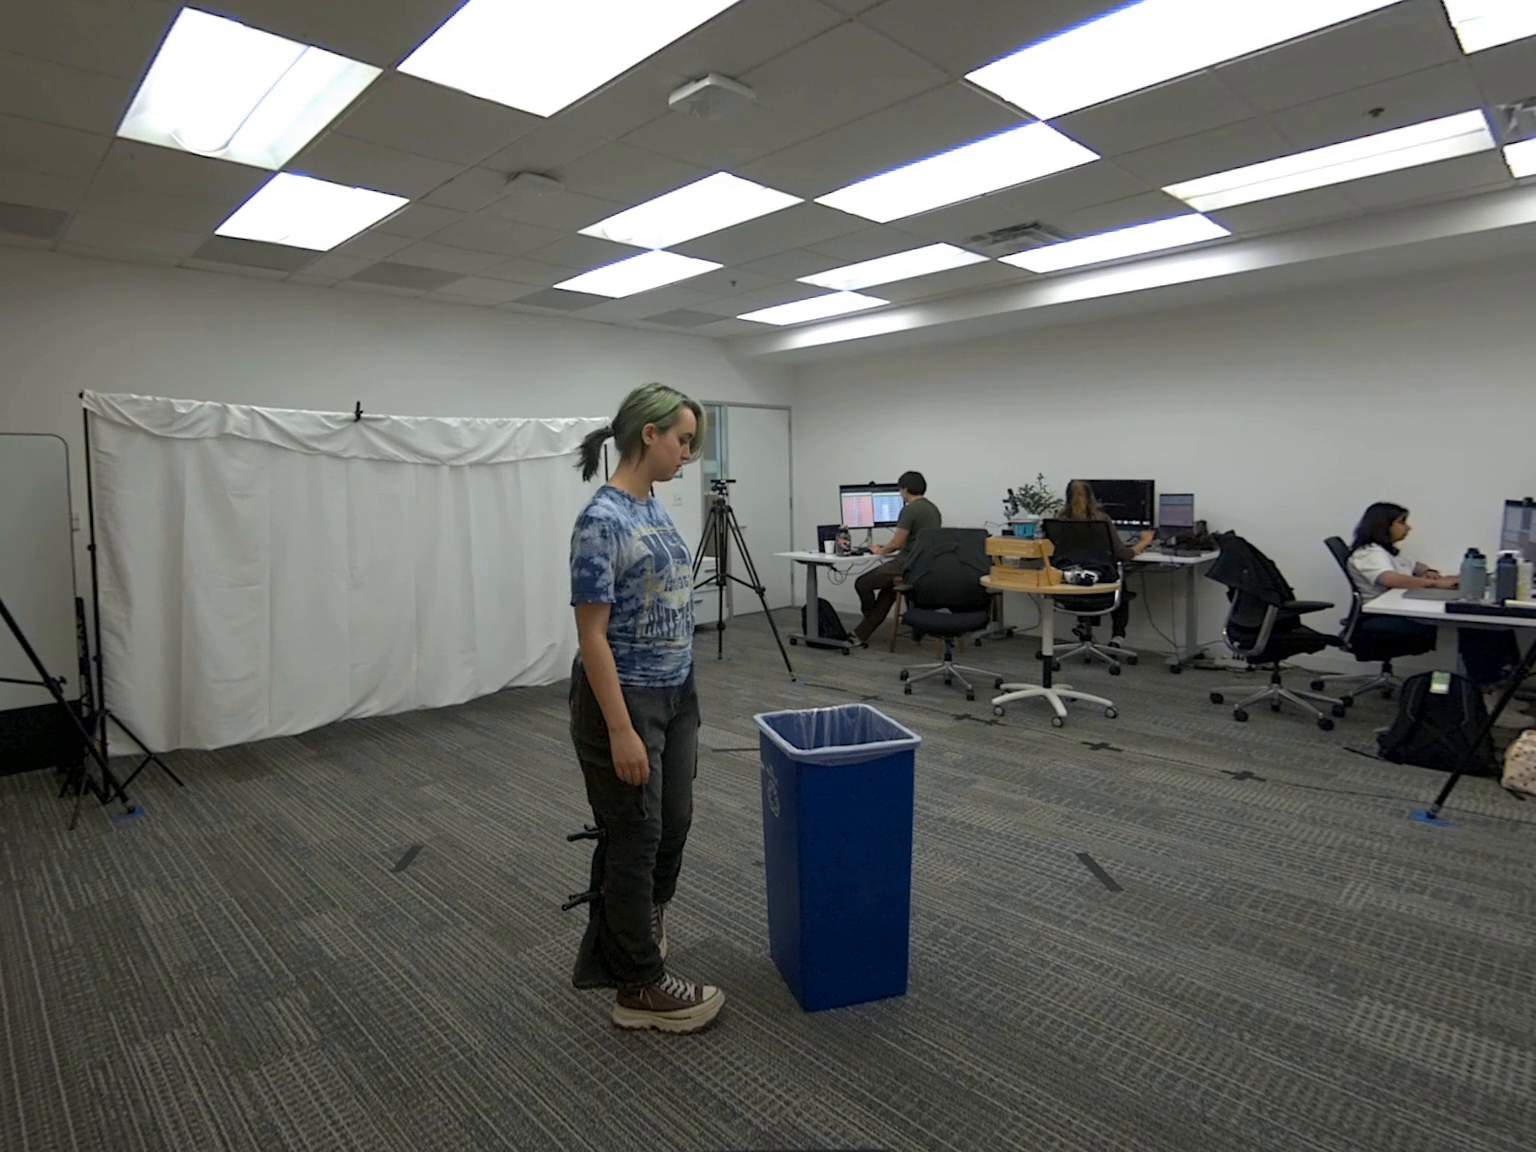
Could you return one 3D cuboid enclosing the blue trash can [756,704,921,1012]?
[{"bbox_3d":[0.195,0.773,2.383,0.373,0.710,0.381,-3,5,-16],"label":"blue trash can"}]
